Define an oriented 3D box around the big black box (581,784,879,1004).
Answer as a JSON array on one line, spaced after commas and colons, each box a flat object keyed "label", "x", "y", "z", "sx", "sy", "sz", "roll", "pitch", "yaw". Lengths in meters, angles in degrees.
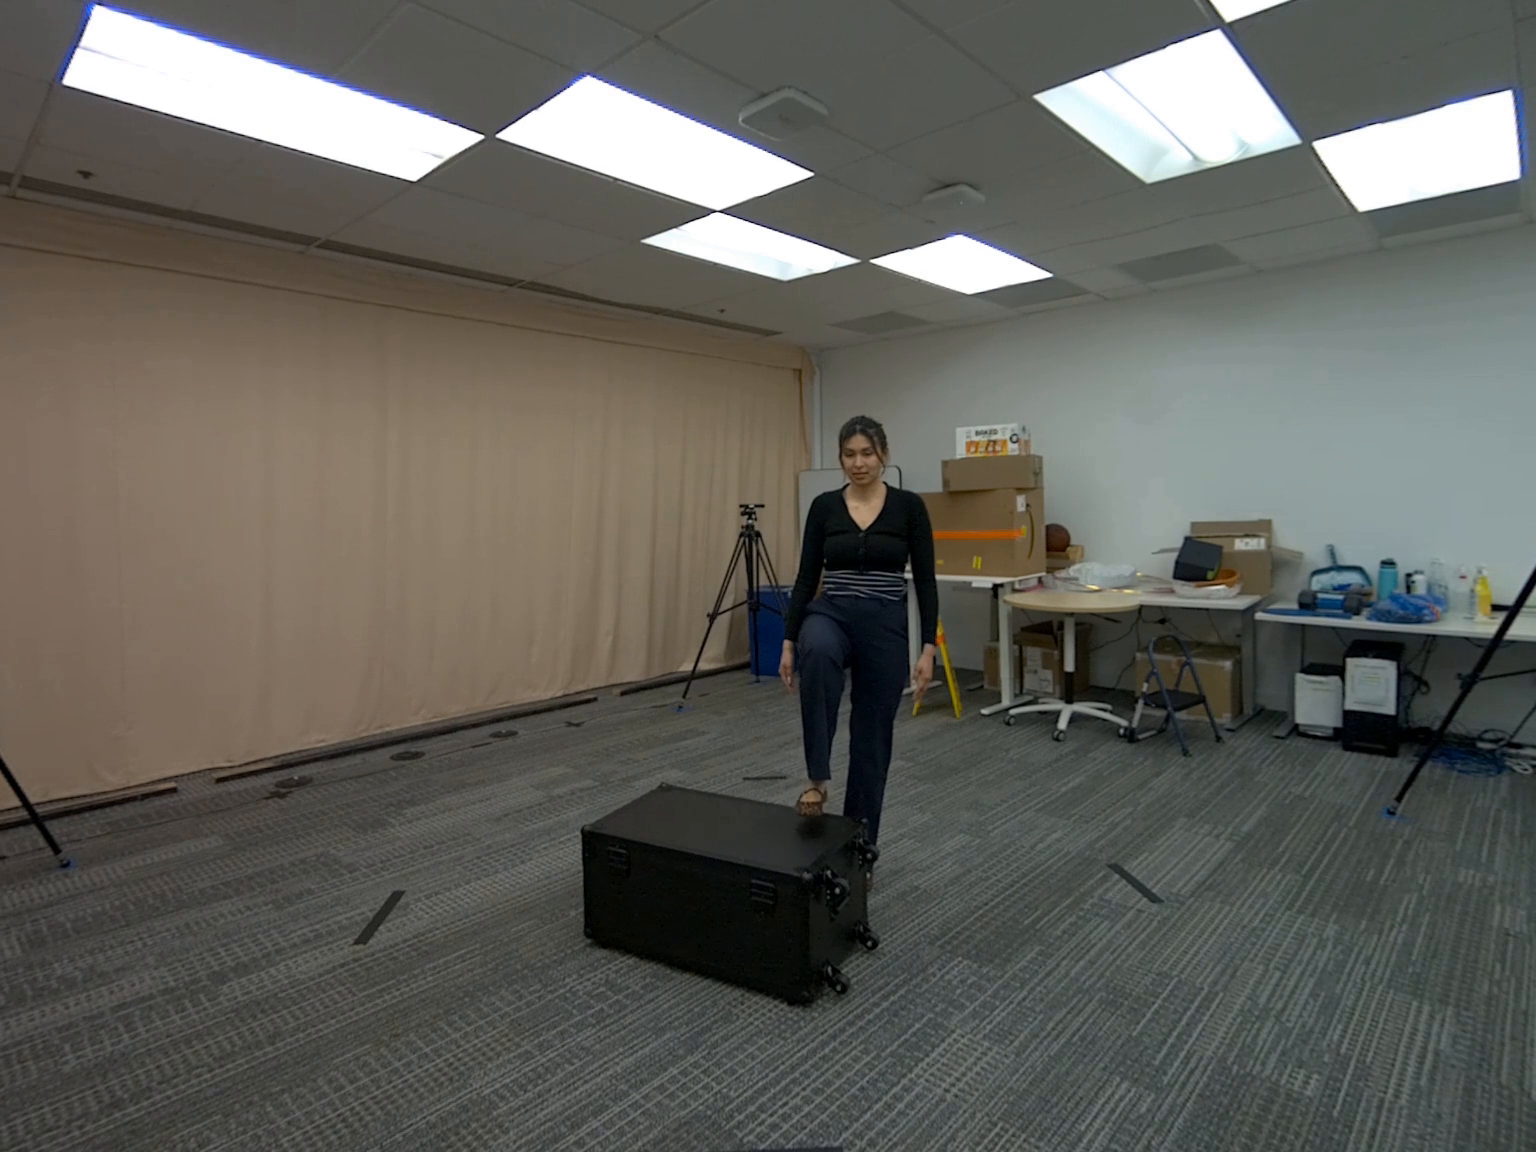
[{"label": "big black box", "x": -0.104, "y": 0.977, "z": 2.673, "sx": 0.885, "sy": 0.395, "sz": 0.508, "roll": 1, "pitch": 4, "yaw": 27}]
